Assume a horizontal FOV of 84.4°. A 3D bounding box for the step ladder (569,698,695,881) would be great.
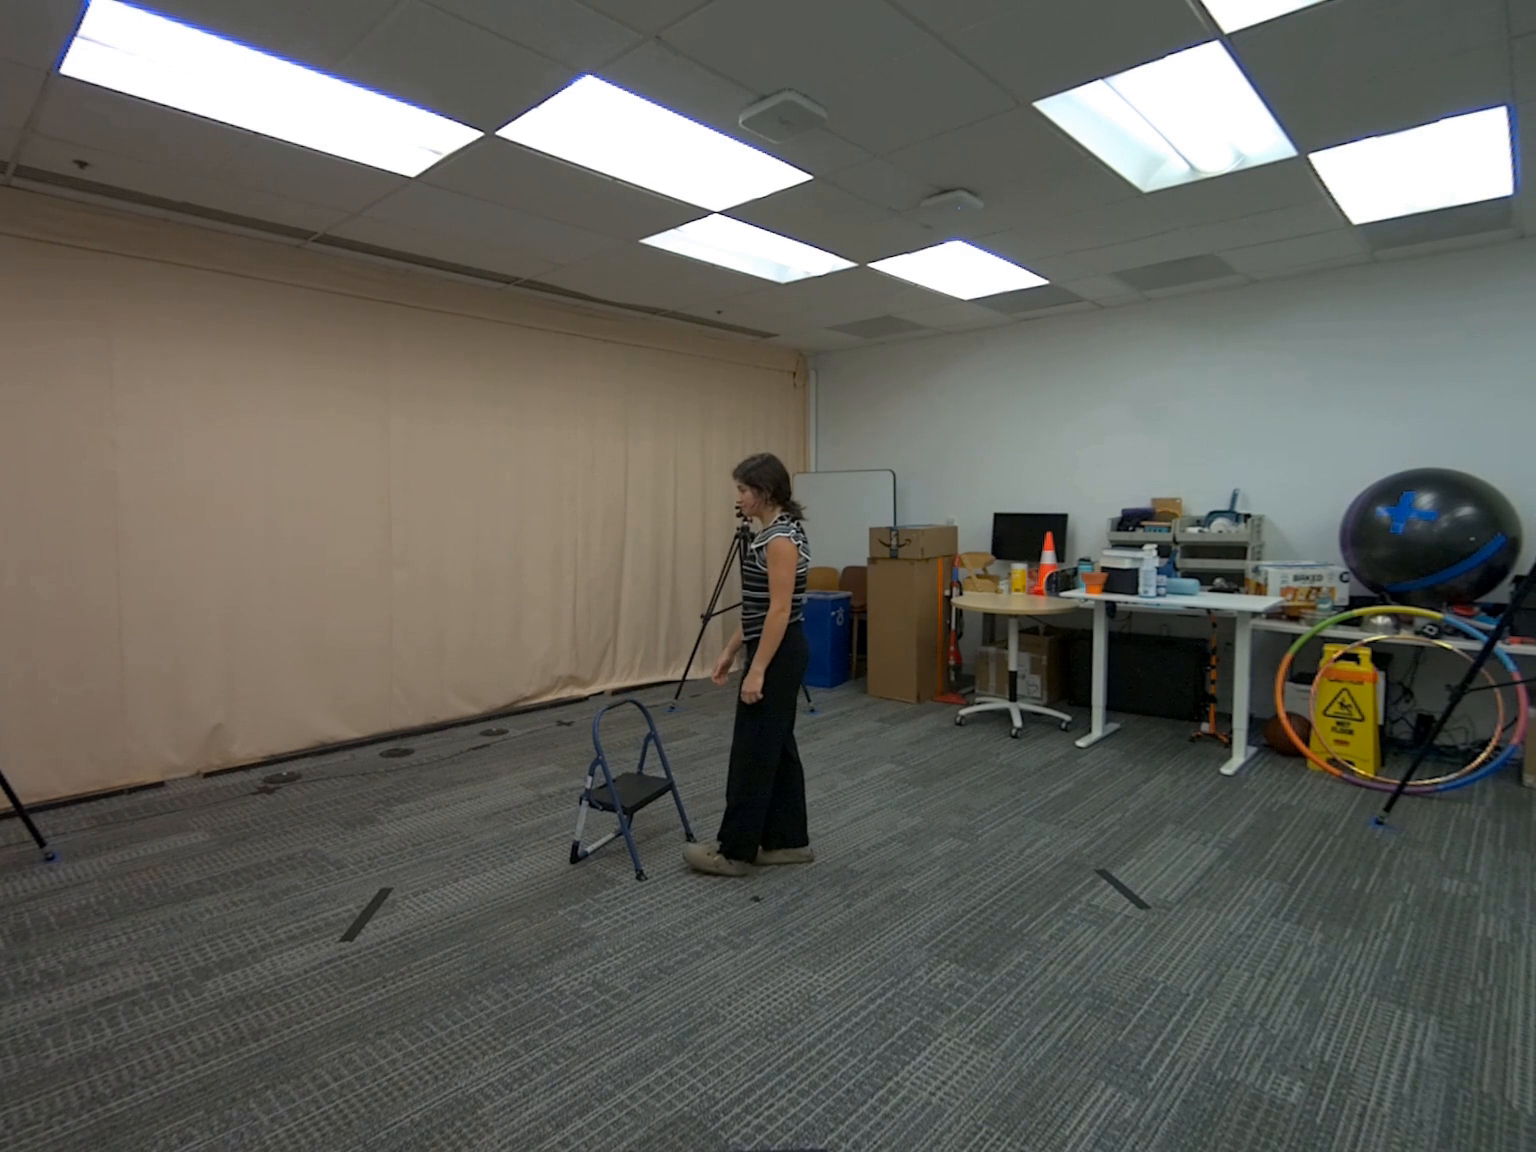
[{"bbox_3d":[-0.543,0.817,3.389,0.358,0.605,0.421,1,3,25],"label":"step ladder"}]
